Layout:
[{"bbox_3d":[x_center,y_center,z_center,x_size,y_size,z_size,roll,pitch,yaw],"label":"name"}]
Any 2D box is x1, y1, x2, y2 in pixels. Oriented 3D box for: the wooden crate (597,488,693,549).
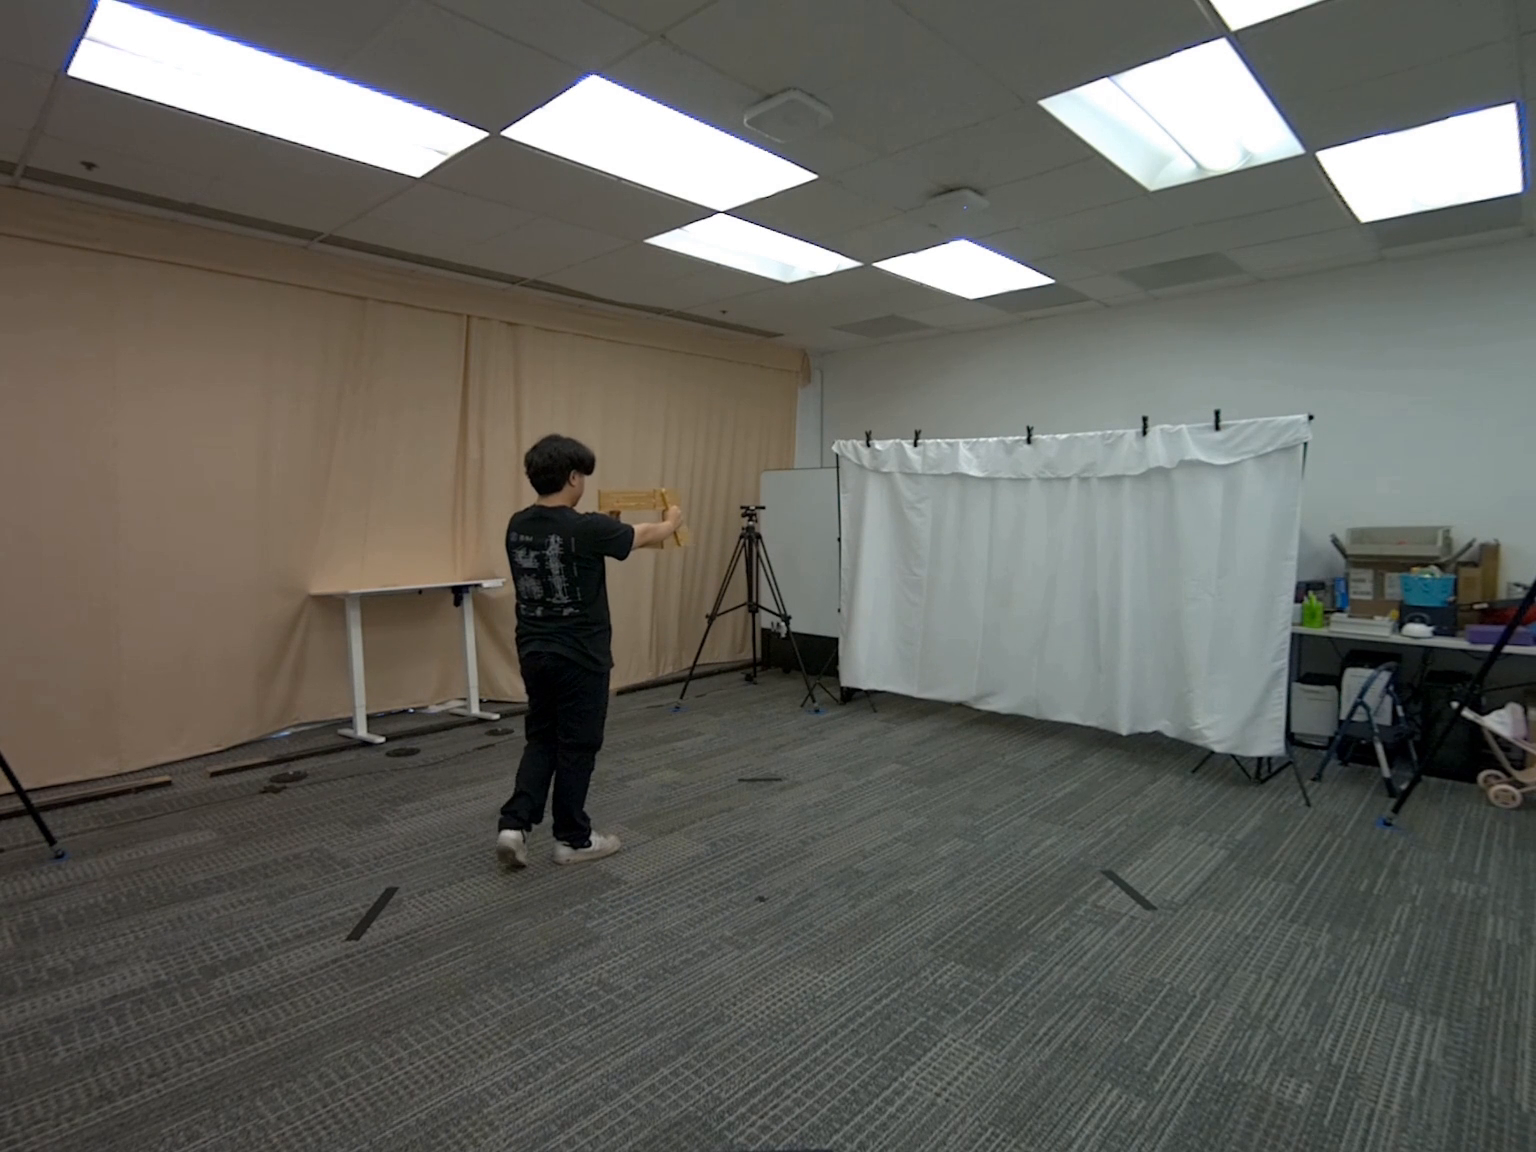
[{"bbox_3d":[-0.541,-0.263,3.739,0.333,0.272,0.295,1,6,26],"label":"wooden crate"}]
